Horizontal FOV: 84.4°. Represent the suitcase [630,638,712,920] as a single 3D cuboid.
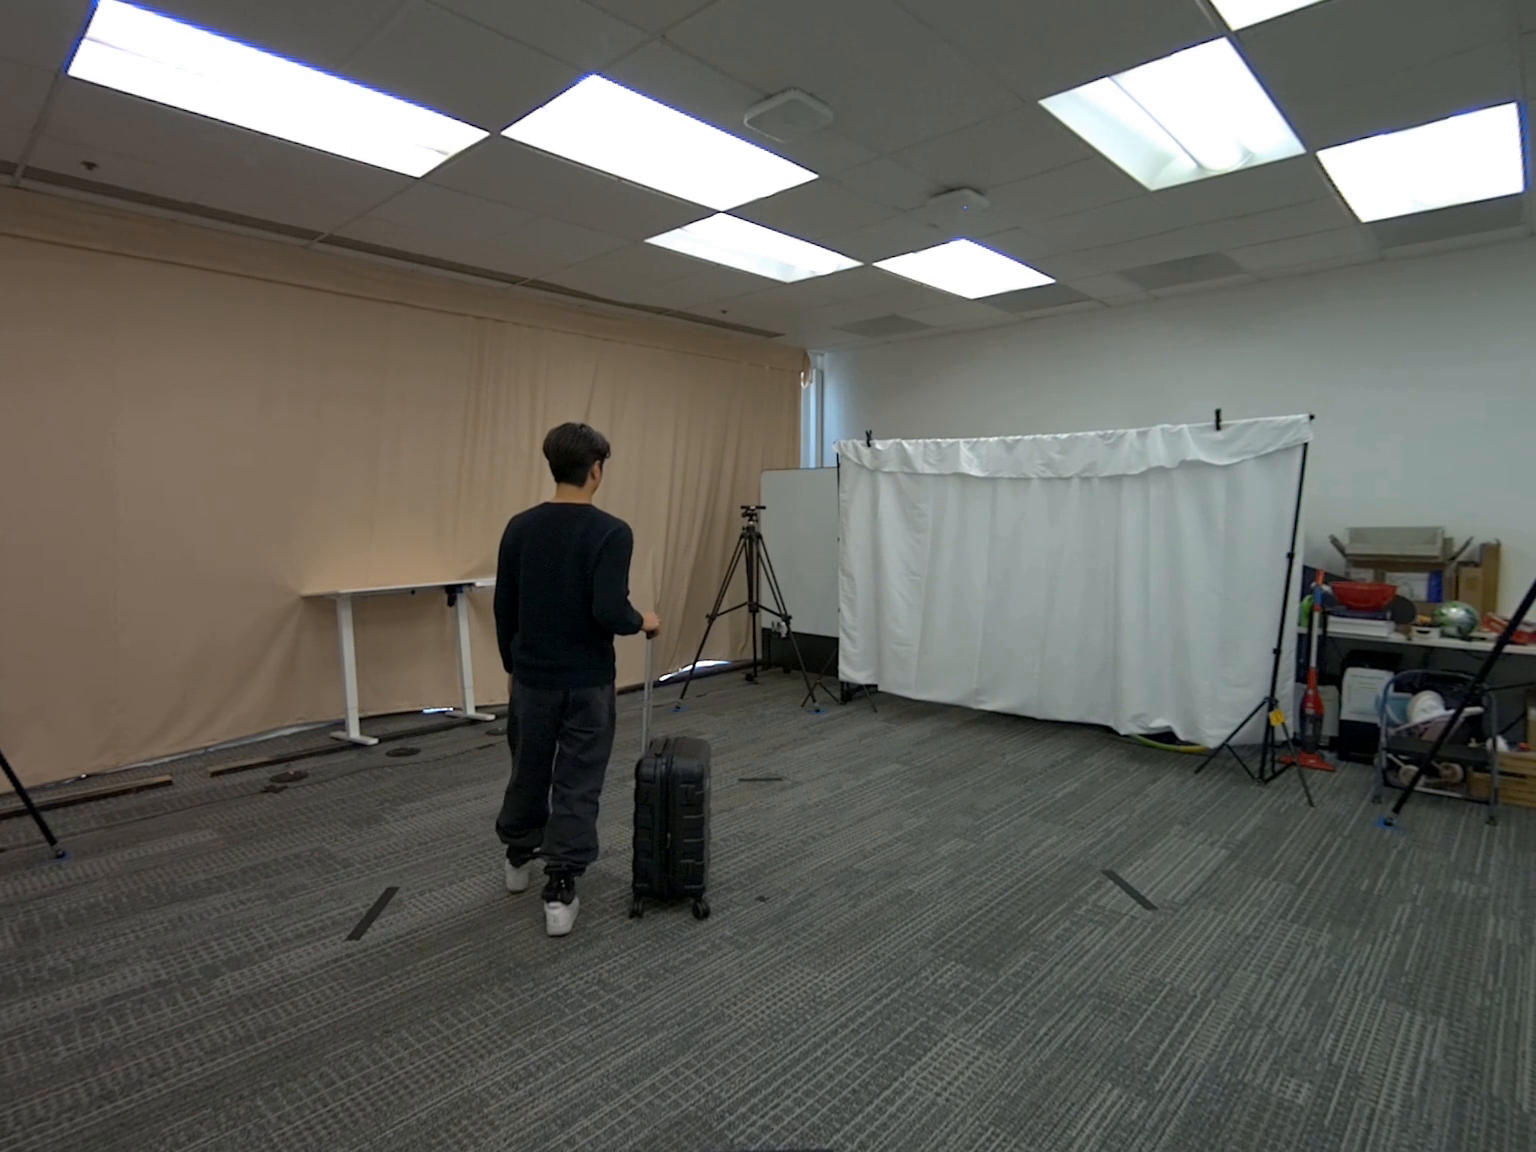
[{"bbox_3d":[-0.332,0.666,3.003,0.258,0.978,0.383,3,2,2],"label":"suitcase"}]
